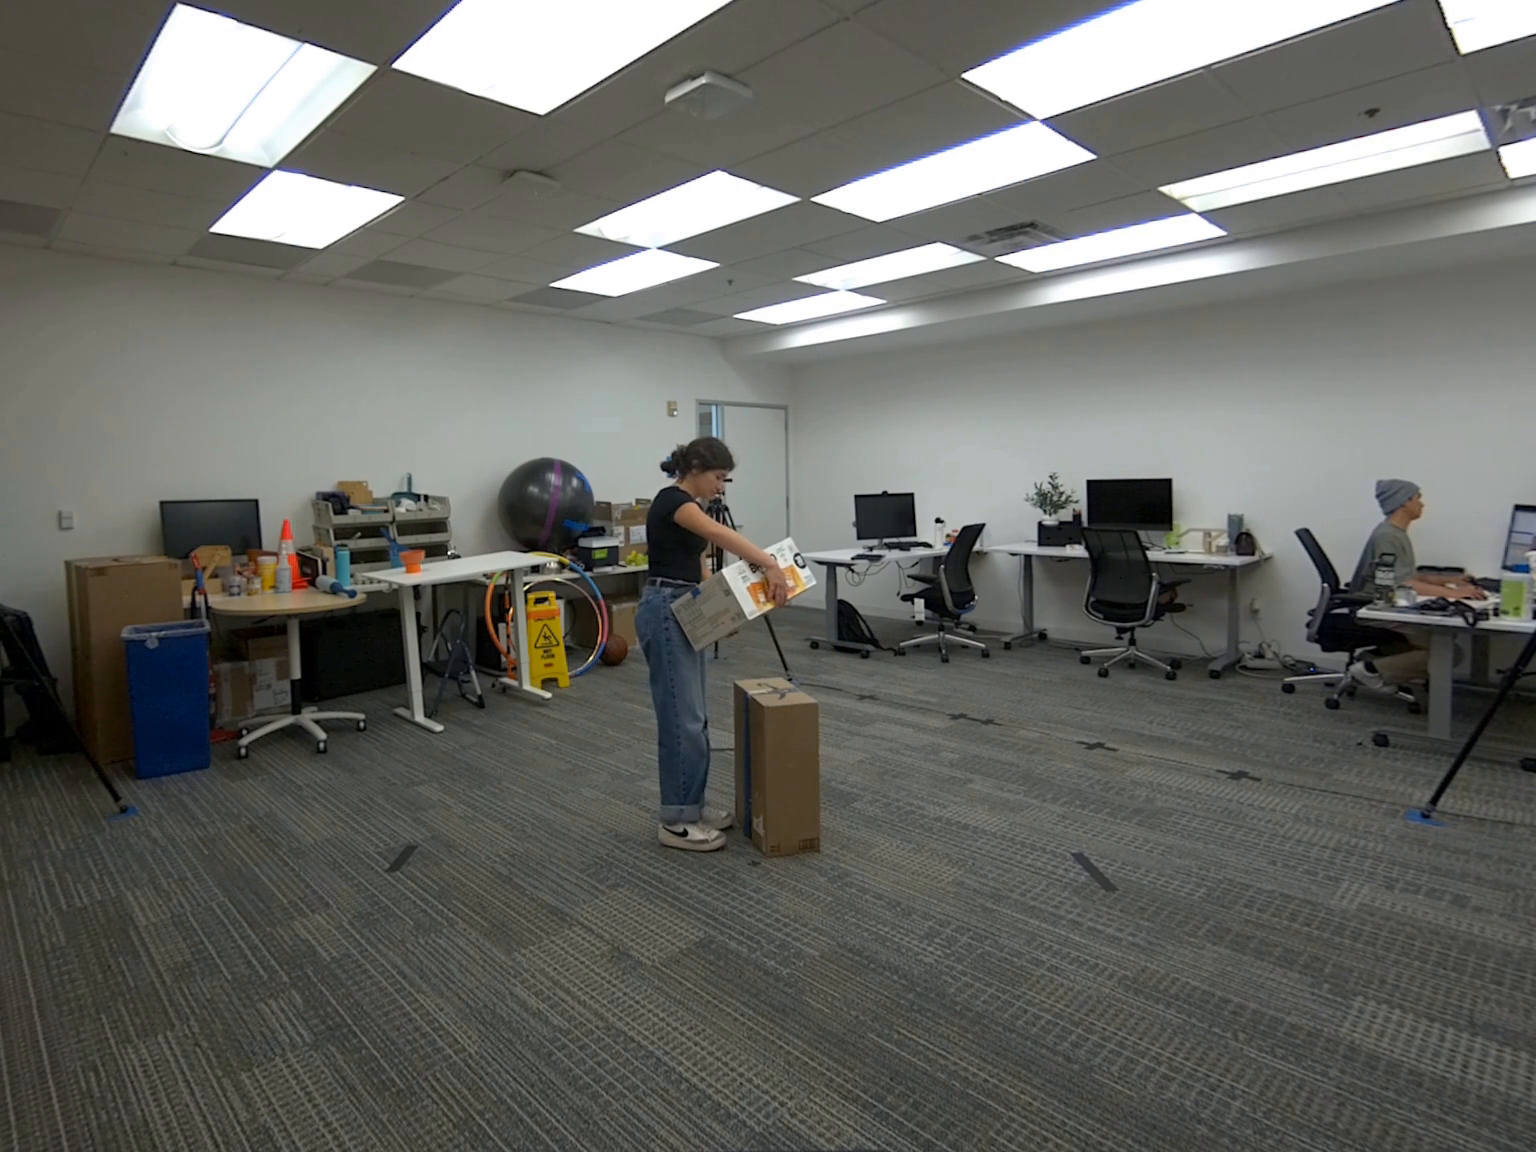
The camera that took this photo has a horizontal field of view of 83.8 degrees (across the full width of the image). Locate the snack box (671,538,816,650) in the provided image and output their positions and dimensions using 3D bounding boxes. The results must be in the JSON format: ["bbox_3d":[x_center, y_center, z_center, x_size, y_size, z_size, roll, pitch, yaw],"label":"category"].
[{"bbox_3d":[-0.090,0.070,3.193,0.399,0.207,0.343,-26,-5,-46],"label":"snack box"}]
